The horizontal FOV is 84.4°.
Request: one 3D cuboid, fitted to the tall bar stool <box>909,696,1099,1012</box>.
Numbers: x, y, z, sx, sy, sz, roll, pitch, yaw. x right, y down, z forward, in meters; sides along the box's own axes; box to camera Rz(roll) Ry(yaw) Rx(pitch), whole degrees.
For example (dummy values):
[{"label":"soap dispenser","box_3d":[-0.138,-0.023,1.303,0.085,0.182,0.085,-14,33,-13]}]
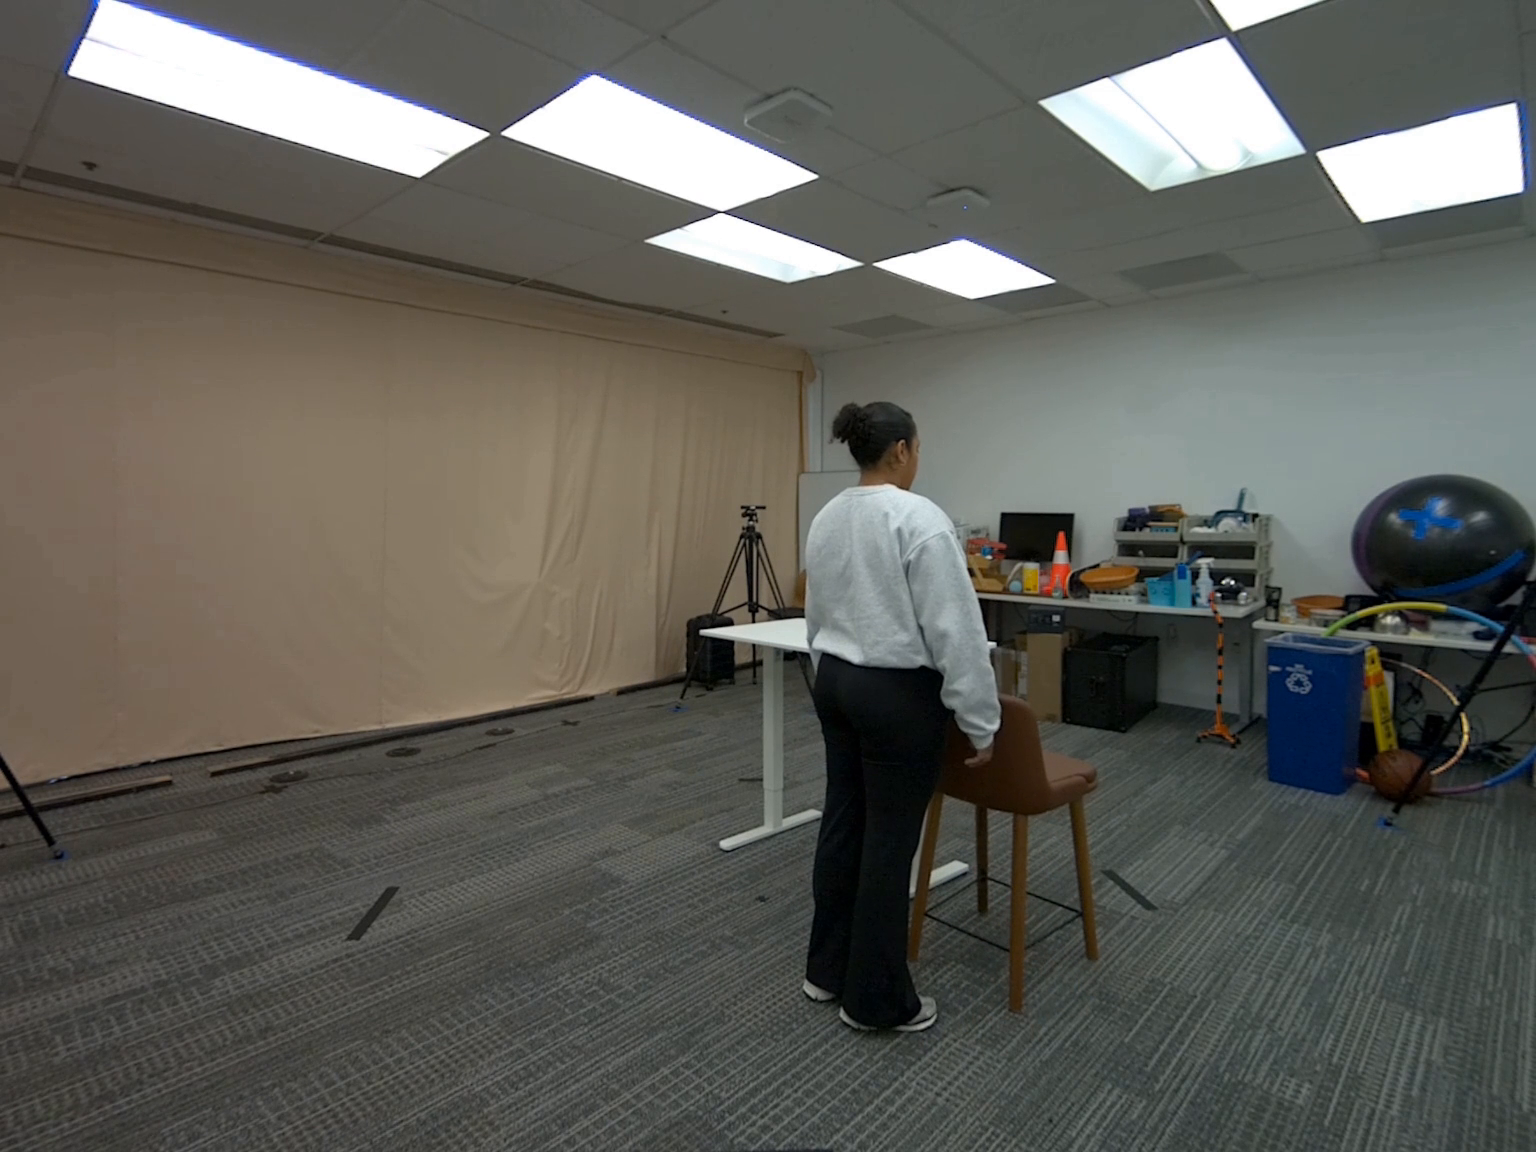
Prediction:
[{"label":"tall bar stool","box_3d":[0.716,0.742,2.559,0.454,0.887,0.472,-6,7,-43]}]
